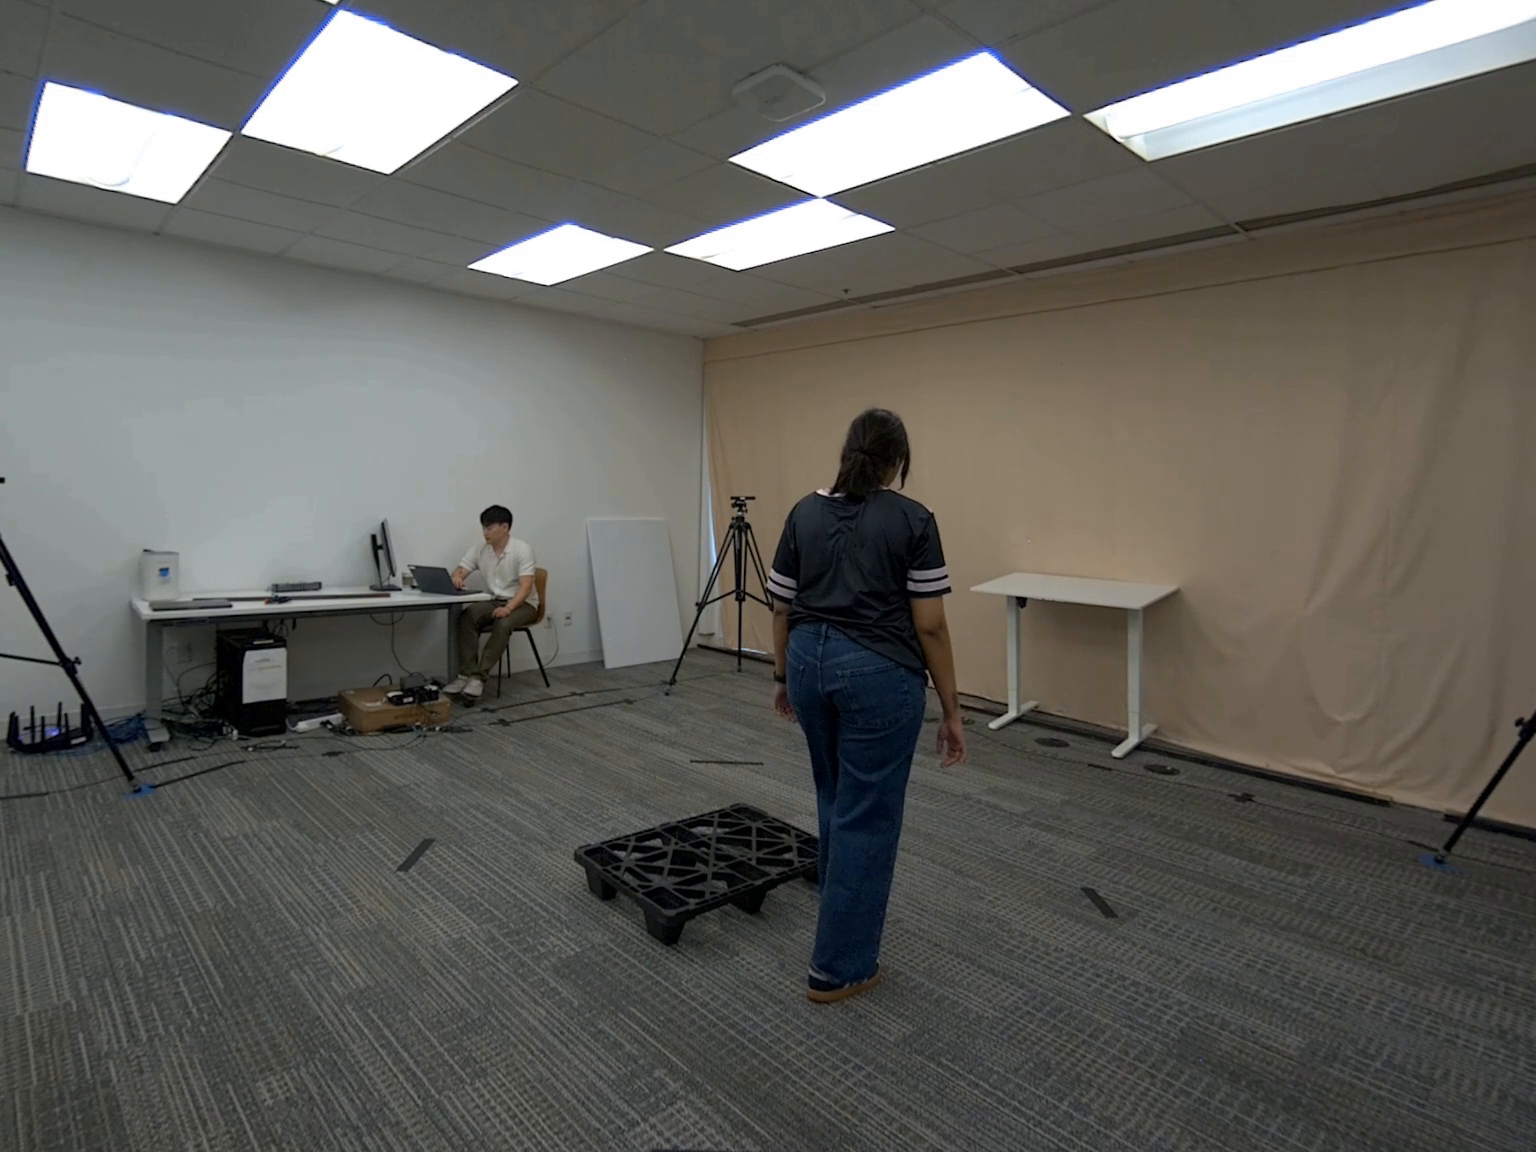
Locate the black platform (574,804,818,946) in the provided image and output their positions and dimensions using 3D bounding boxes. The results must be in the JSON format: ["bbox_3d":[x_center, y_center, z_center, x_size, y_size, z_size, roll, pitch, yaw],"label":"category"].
[{"bbox_3d":[-0.213,1.047,3.008,0.787,0.143,0.620,-3,6,-40],"label":"black platform"}]
